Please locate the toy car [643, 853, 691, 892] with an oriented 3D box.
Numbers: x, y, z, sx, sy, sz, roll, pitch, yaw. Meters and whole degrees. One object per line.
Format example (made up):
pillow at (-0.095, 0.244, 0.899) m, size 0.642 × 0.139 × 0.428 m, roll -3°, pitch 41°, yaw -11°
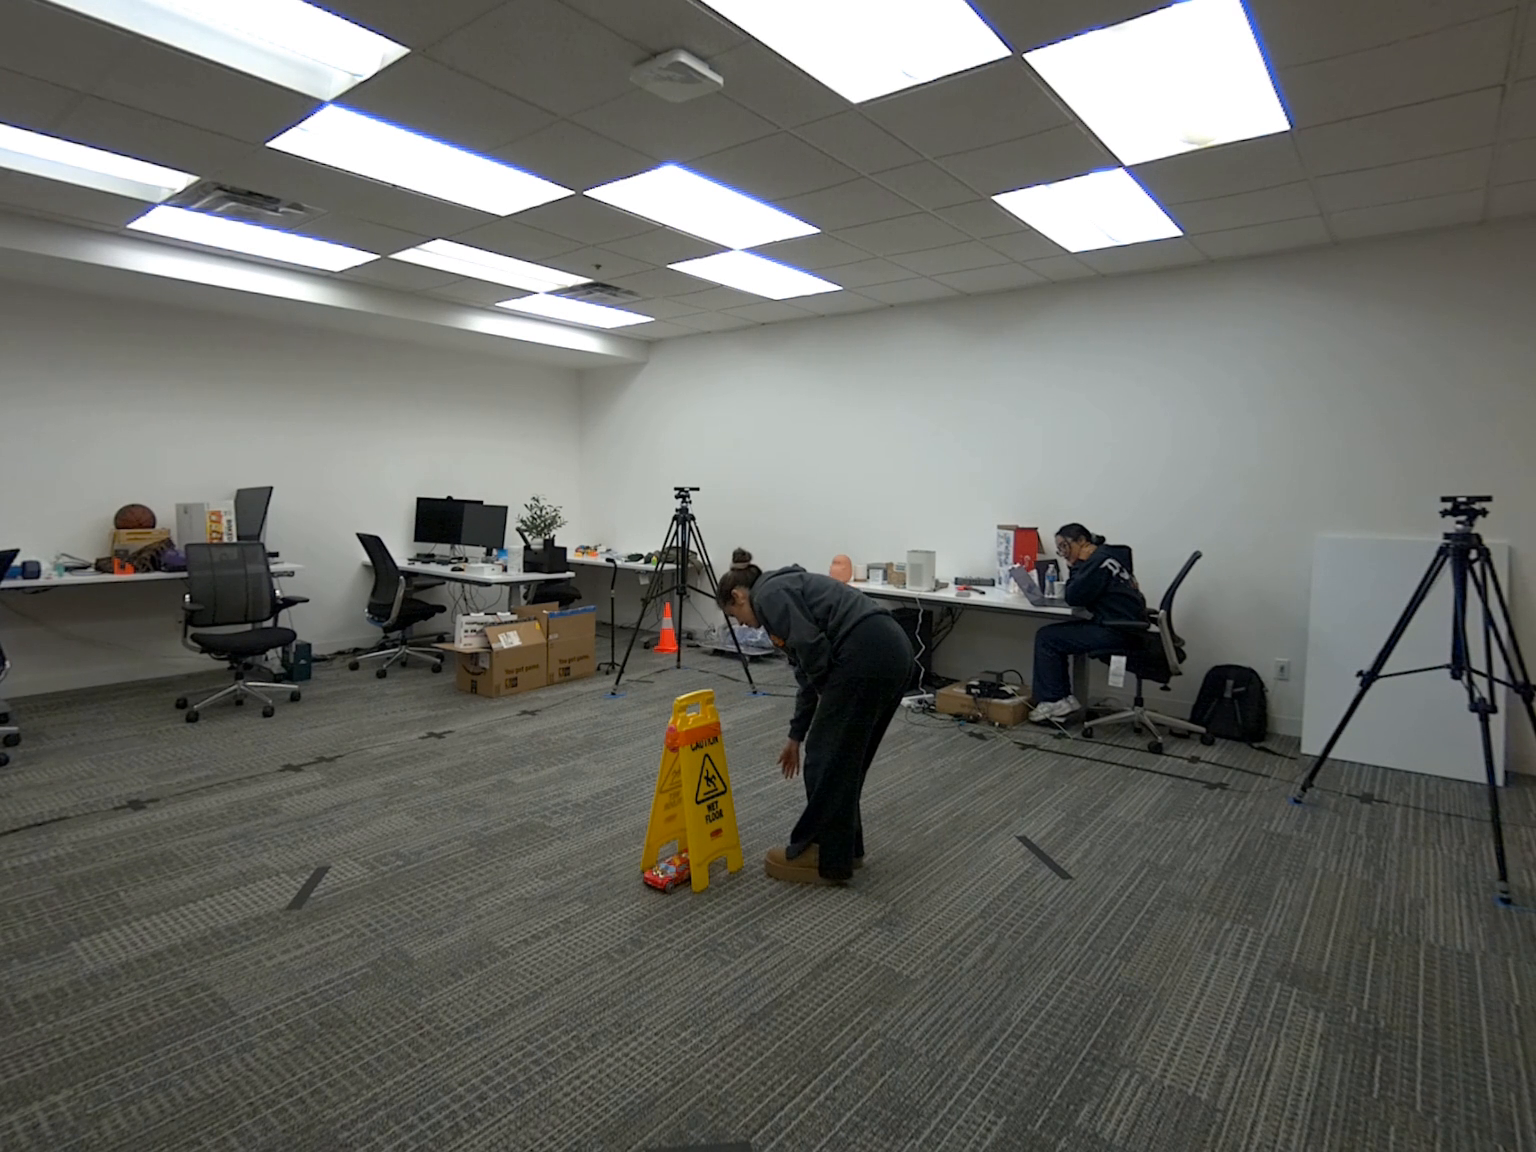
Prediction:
toy car at (-0.339, 1.043, 3.028) m, size 0.135 × 0.082 × 0.249 m, roll 5°, pitch 17°, yaw 38°
